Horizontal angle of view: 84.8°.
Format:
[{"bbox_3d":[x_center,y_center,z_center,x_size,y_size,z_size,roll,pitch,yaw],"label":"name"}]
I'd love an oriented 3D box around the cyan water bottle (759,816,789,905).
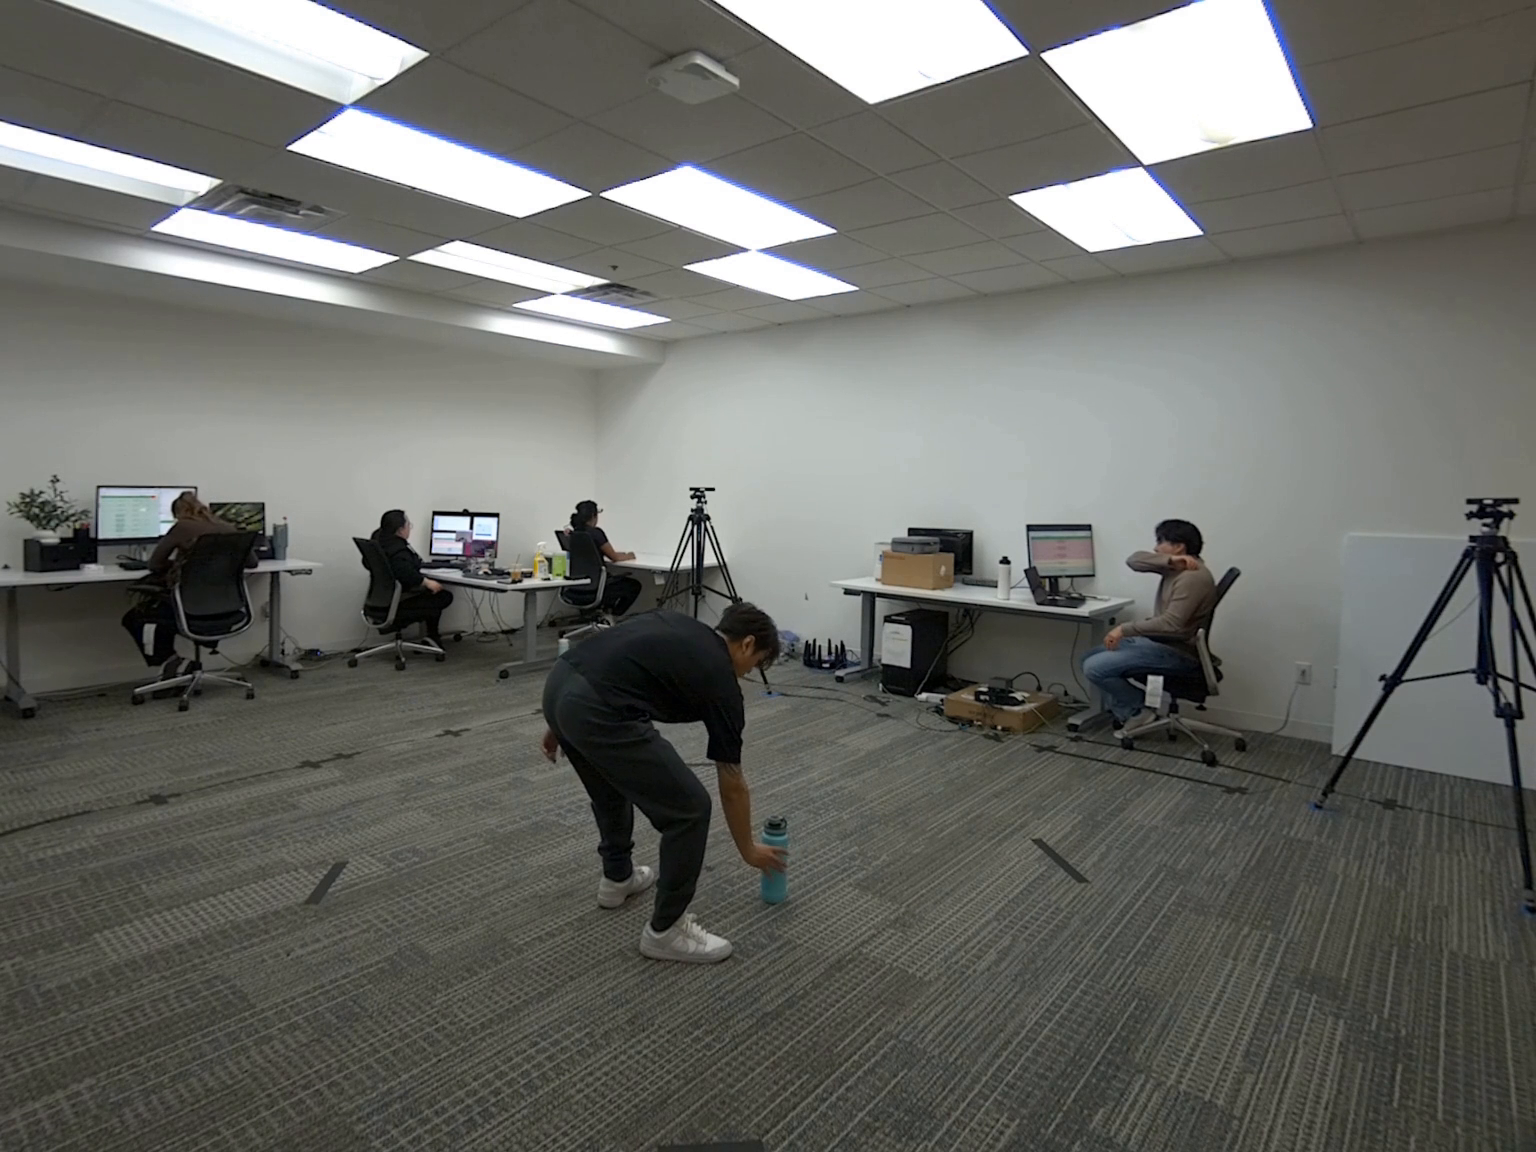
[{"bbox_3d":[0.014,0.960,2.889,0.092,0.283,0.092,2,1,-2],"label":"cyan water bottle"}]
